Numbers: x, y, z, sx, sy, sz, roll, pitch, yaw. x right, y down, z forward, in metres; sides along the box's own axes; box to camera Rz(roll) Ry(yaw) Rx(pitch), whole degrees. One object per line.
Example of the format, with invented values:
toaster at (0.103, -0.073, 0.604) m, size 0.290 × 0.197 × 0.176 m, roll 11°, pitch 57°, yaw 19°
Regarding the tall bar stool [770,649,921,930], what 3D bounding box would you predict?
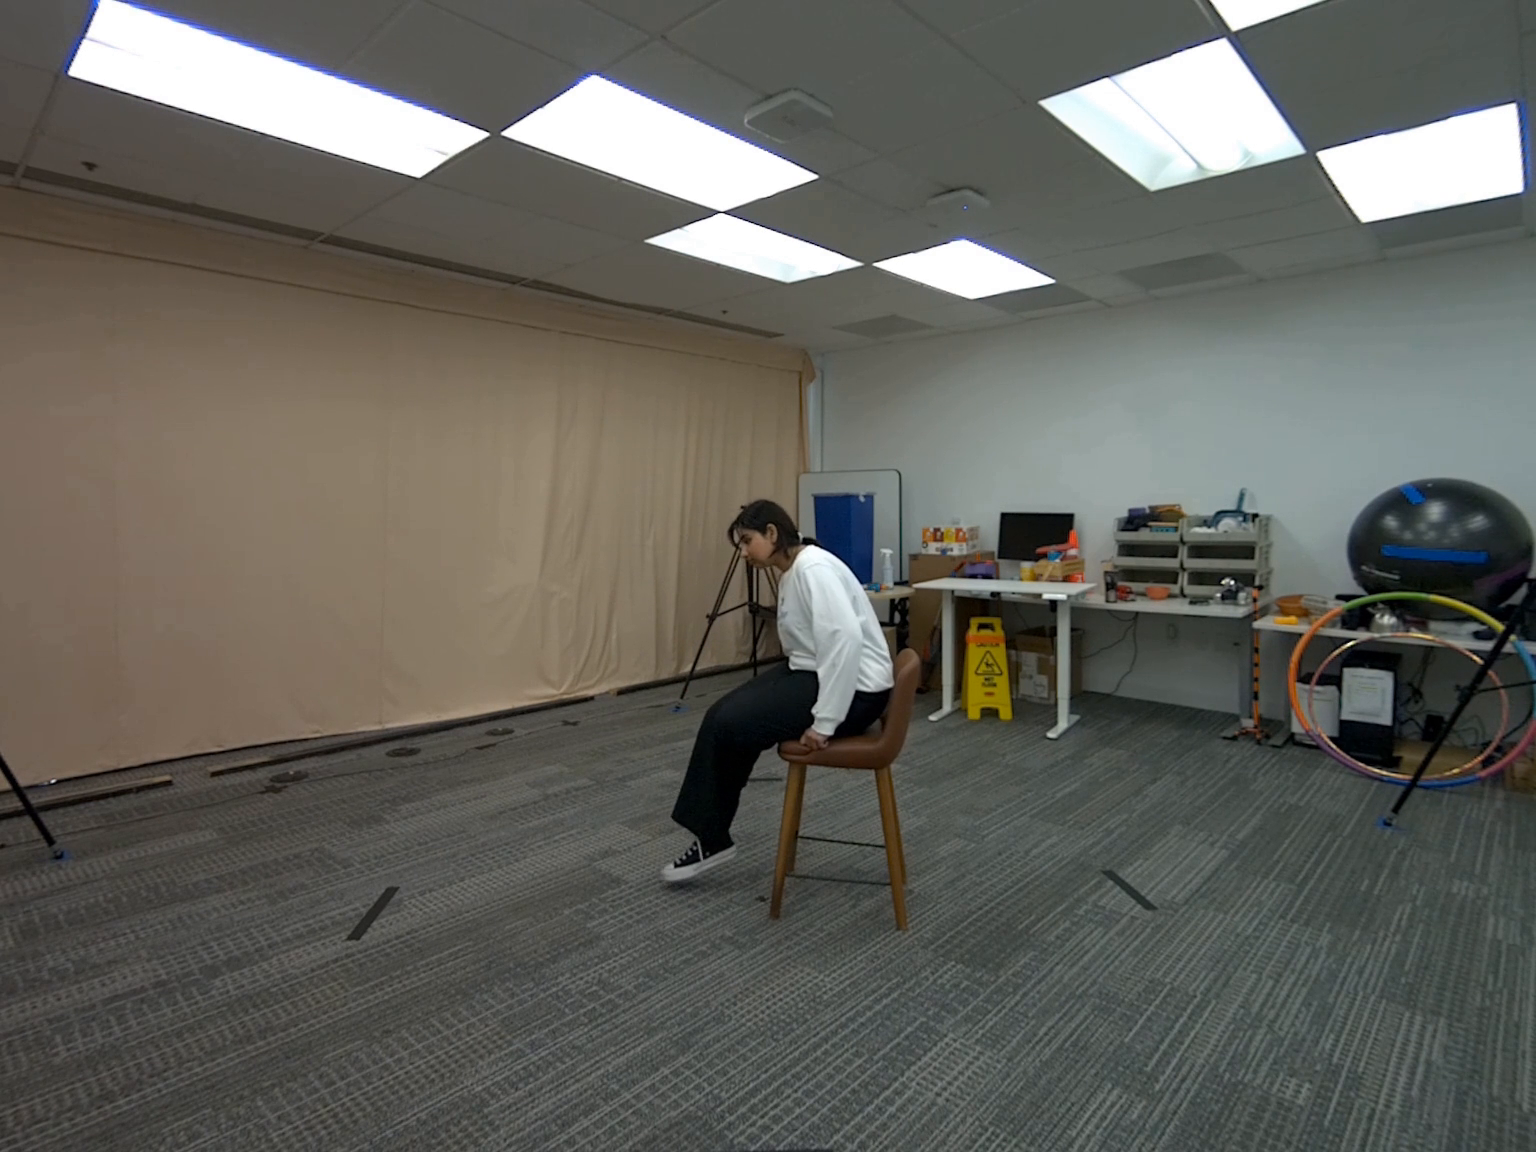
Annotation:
tall bar stool at (0.278, 0.713, 2.953) m, size 0.474 × 0.888 × 0.451 m, roll 2°, pitch 3°, yaw 11°
